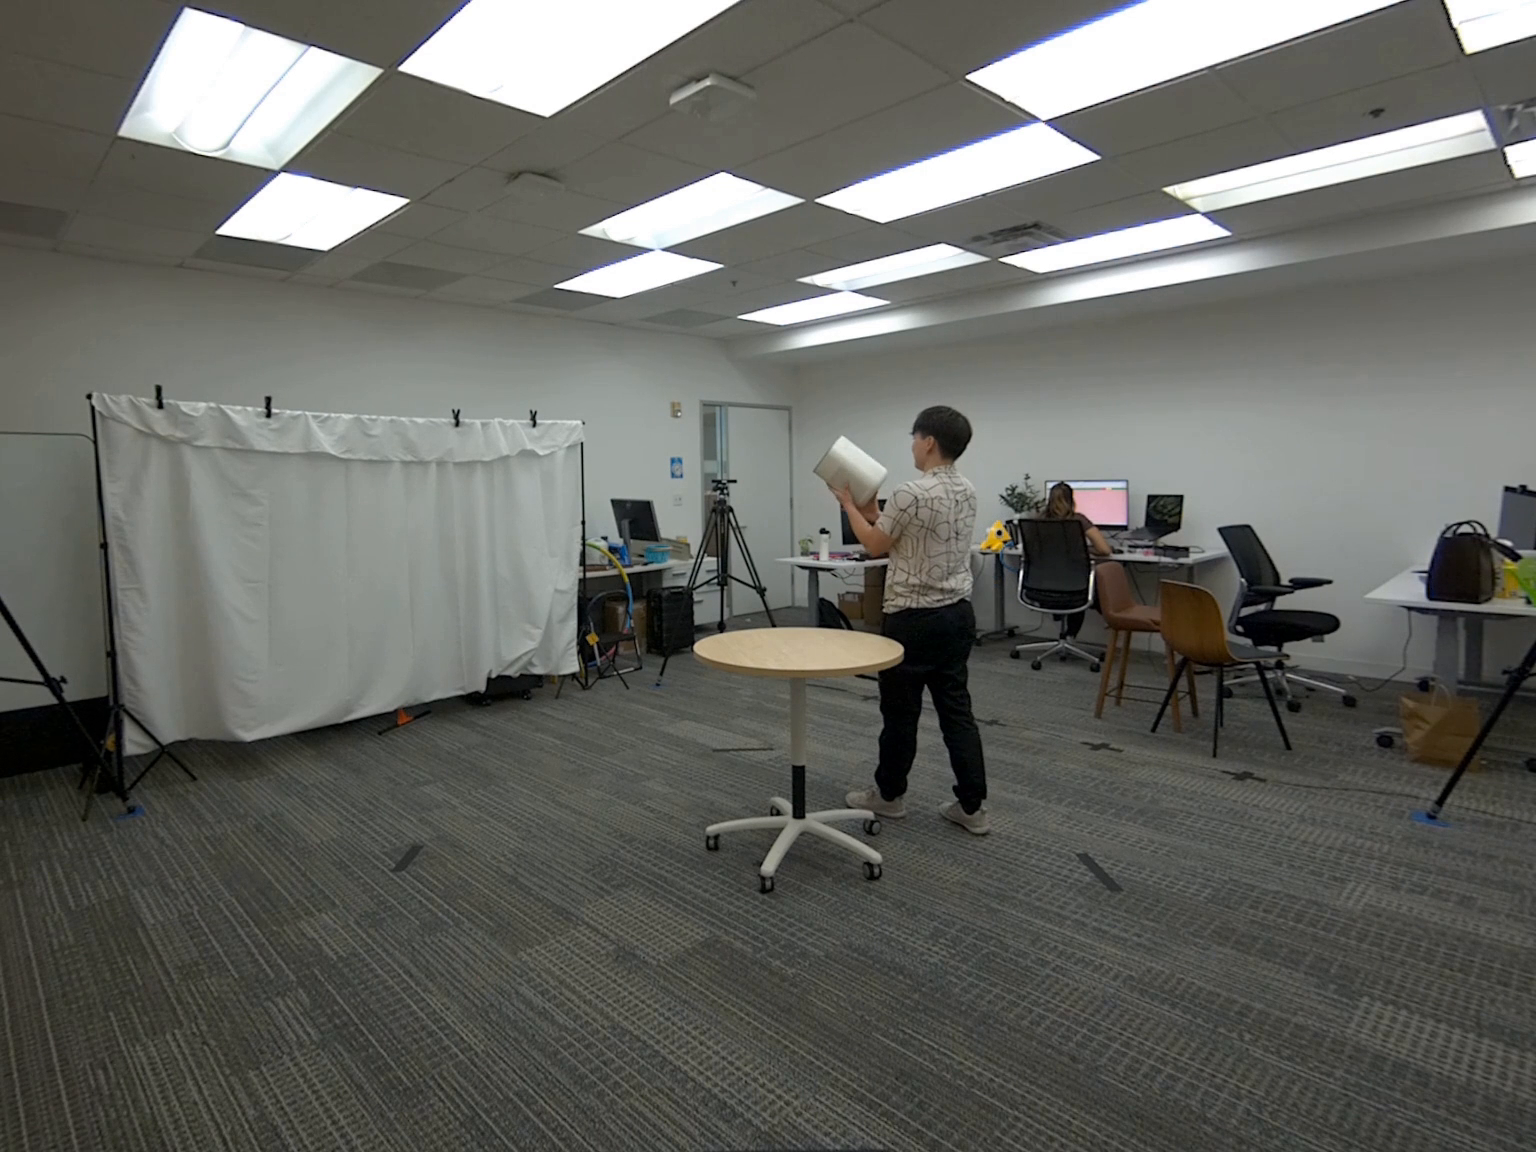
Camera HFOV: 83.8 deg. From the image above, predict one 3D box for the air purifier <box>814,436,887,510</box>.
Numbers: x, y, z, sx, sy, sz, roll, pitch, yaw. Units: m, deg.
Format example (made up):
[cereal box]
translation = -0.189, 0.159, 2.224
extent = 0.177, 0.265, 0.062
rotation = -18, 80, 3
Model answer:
[air purifier]
translation = 0.359, -0.450, 3.648
extent = 0.266, 0.171, 0.171
rotation = 37, 39, 2
